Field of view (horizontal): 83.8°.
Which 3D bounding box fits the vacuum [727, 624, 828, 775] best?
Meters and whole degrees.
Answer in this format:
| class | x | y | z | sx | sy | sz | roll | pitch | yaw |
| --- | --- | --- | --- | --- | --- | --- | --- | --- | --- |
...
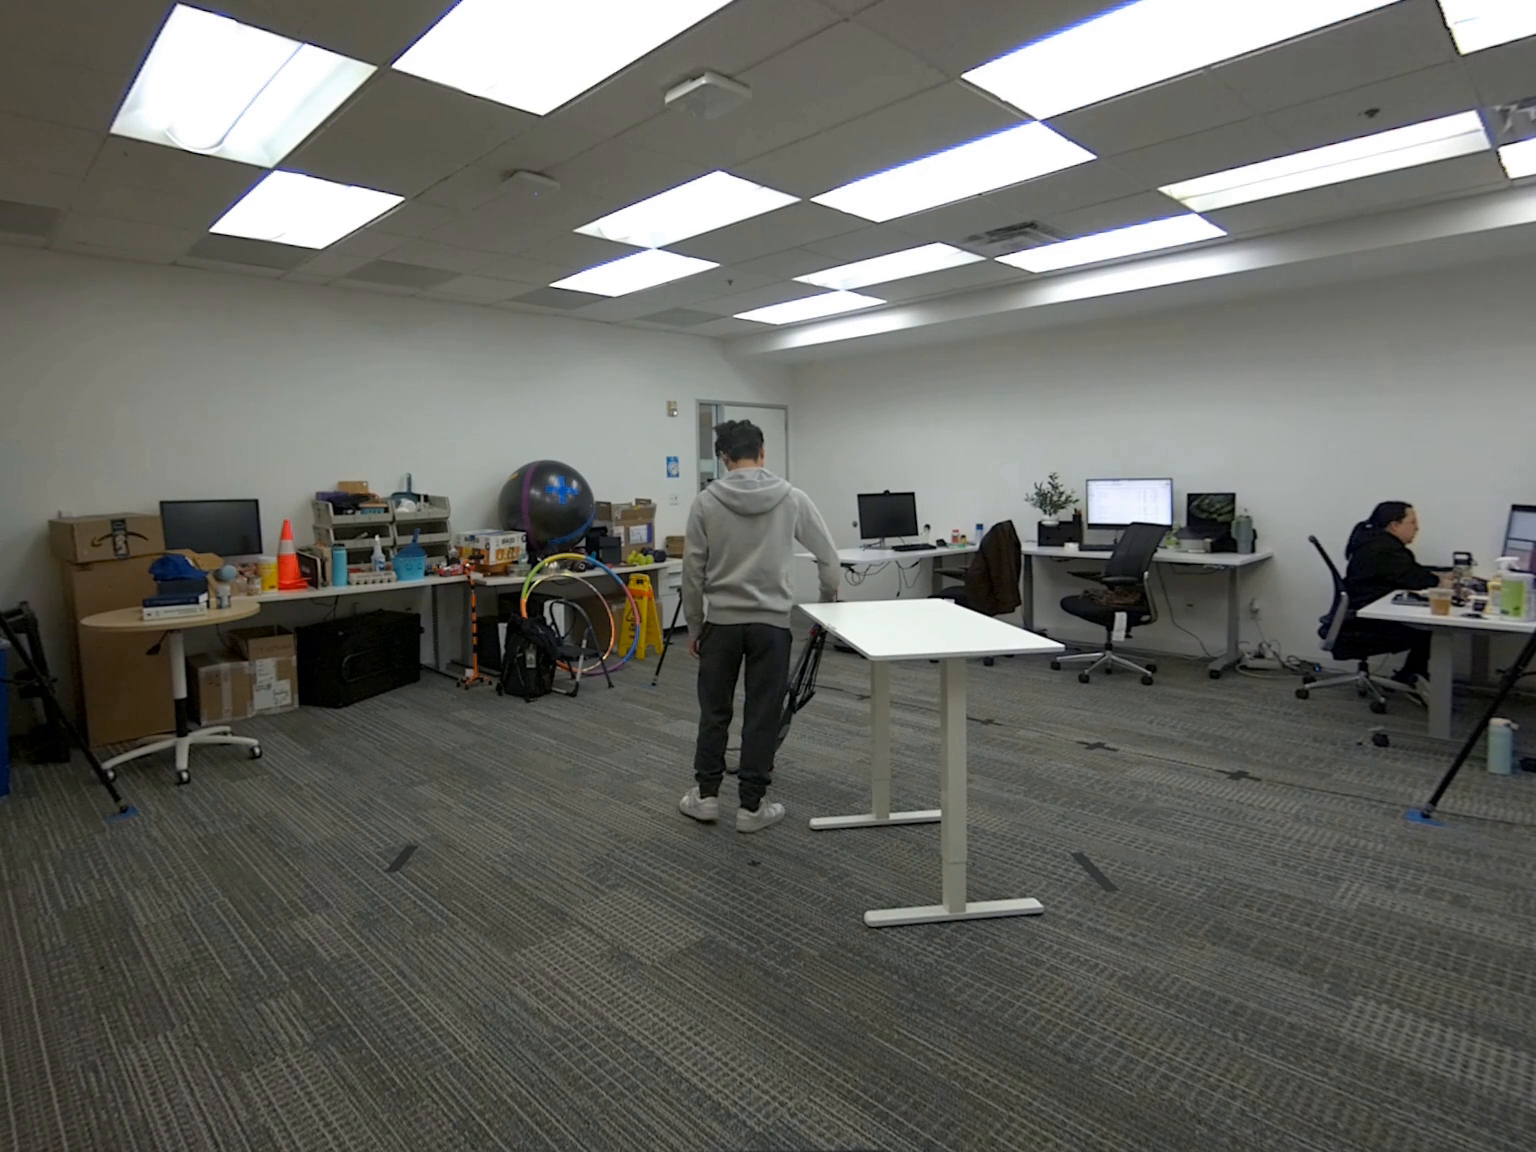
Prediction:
| class | x | y | z | sx | sy | sz | roll | pitch | yaw |
| --- | --- | --- | --- | --- | --- | --- | --- | --- | --- |
| vacuum | 0.117 | 0.524 | 3.854 | 0.246 | 1.037 | 0.149 | -3 | 41 | -38 |
